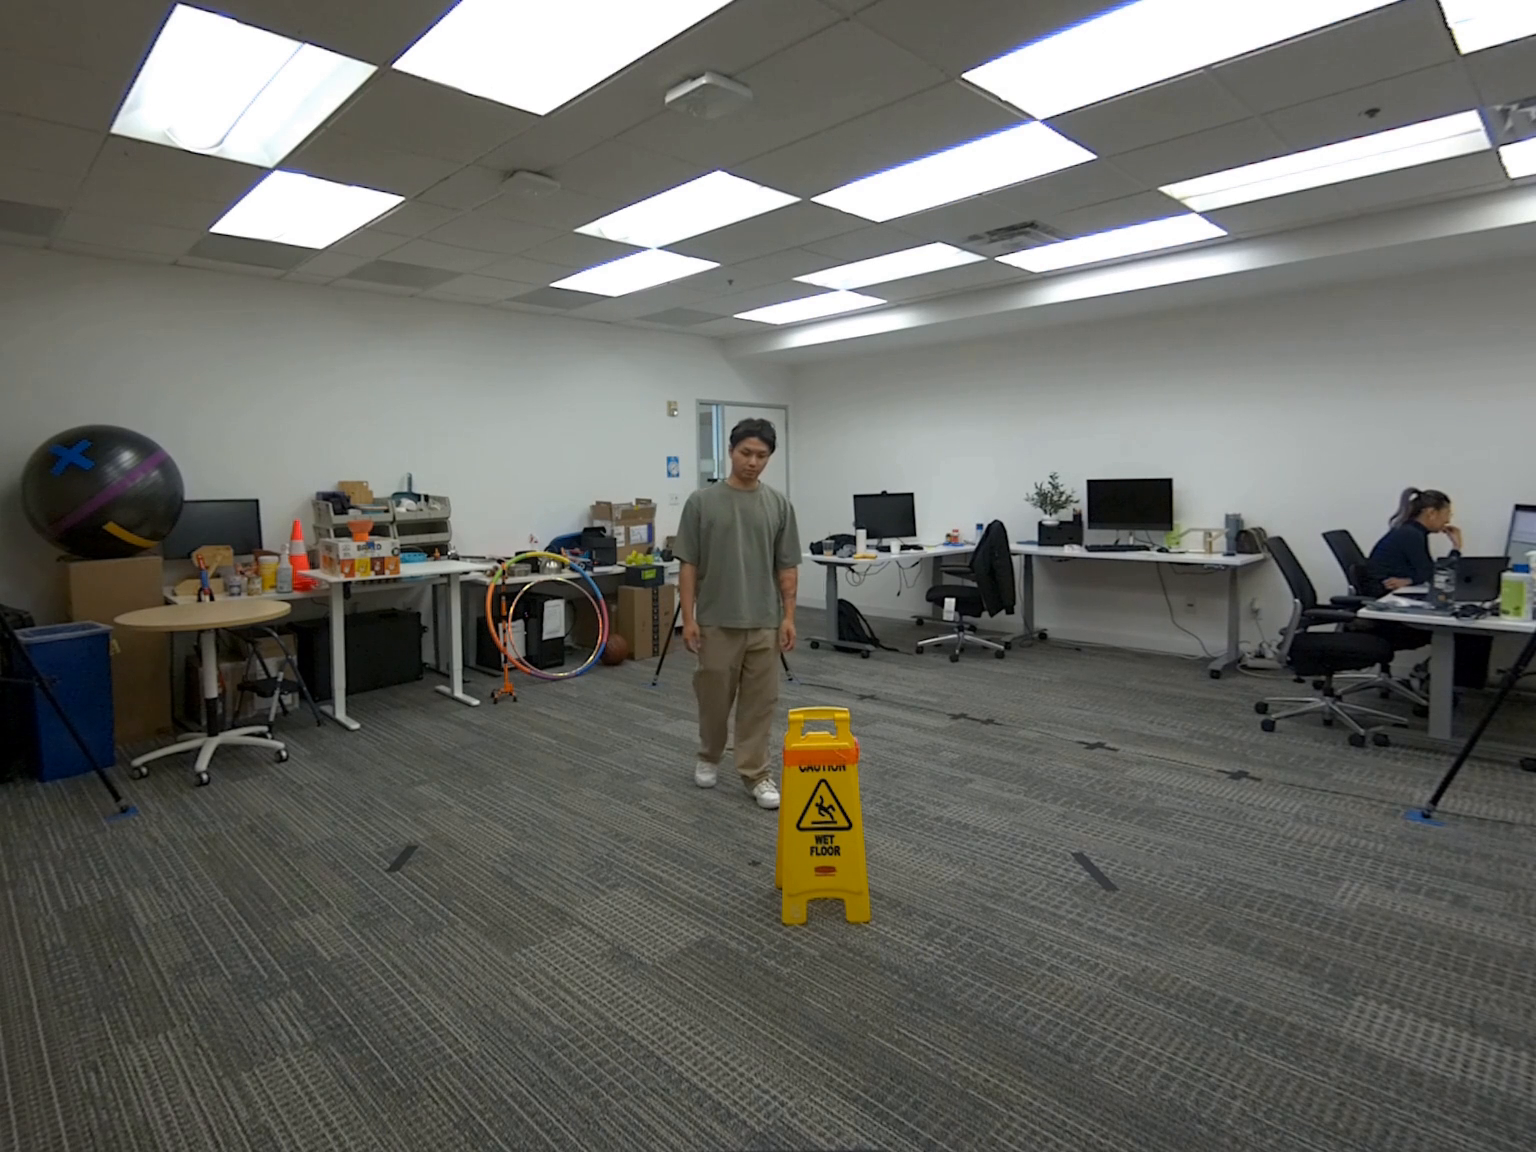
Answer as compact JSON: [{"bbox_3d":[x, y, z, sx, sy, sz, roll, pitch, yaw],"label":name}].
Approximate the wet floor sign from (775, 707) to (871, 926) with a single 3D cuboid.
[{"bbox_3d":[0.166,0.758,2.785,0.282,0.643,0.291,-2,4,-3],"label":"wet floor sign"}]
